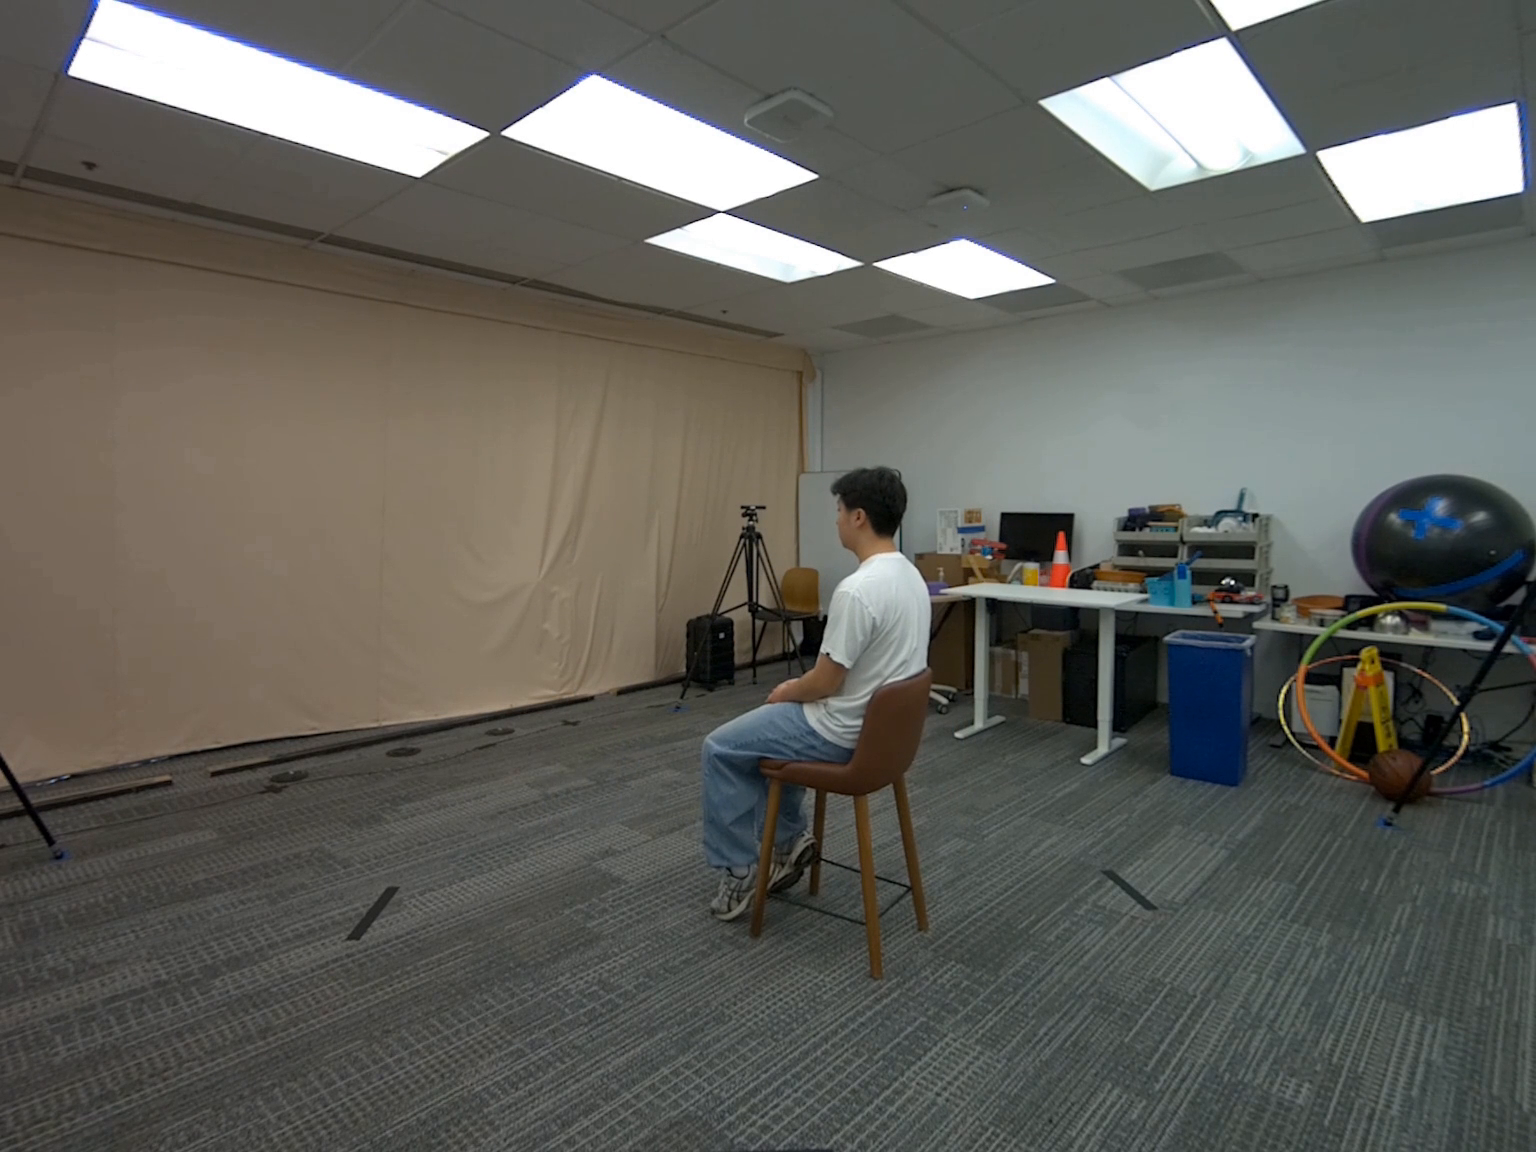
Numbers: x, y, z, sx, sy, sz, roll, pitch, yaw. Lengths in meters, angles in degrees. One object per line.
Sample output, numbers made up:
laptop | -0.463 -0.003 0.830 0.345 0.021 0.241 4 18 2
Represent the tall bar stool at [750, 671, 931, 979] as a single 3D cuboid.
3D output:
tall bar stool | 0.255 0.731 2.714 0.482 0.887 0.444 5 7 34
